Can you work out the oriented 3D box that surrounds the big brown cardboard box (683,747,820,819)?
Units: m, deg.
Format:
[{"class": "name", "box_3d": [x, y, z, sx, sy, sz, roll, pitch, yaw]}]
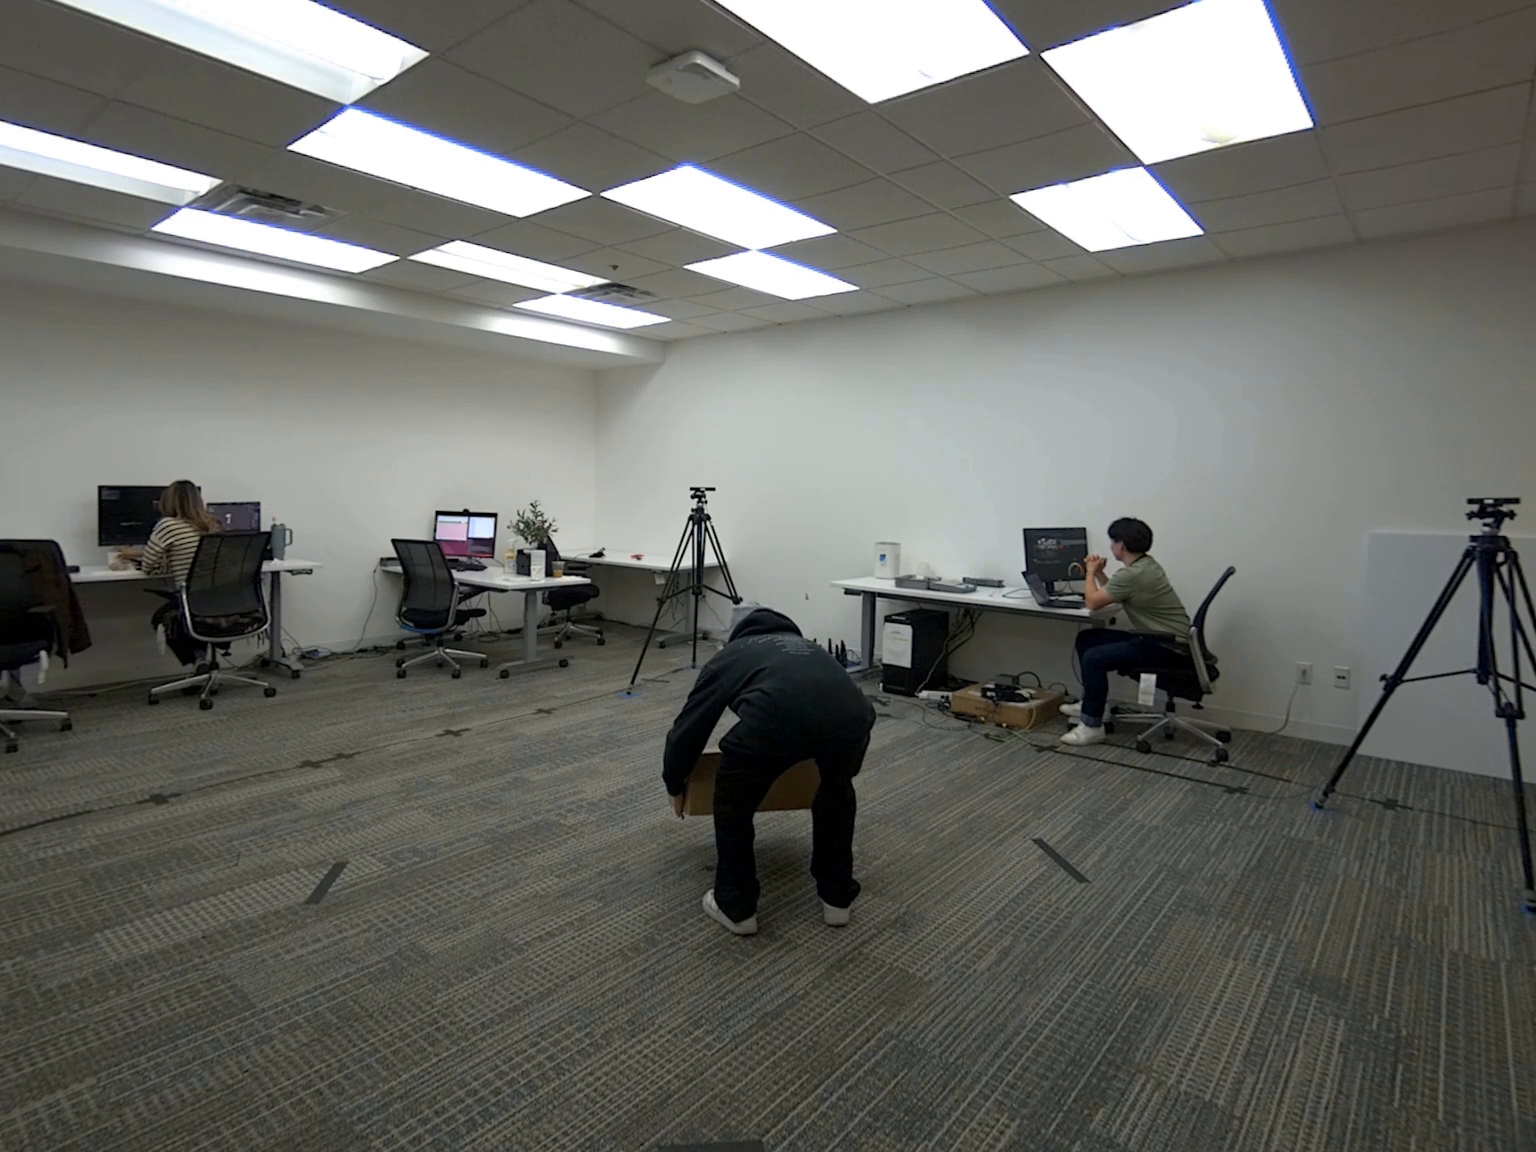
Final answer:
[{"class": "big brown cardboard box", "box_3d": [-0.069, 0.760, 3.223, 0.581, 0.236, 0.419, 2, -10, -13]}]
